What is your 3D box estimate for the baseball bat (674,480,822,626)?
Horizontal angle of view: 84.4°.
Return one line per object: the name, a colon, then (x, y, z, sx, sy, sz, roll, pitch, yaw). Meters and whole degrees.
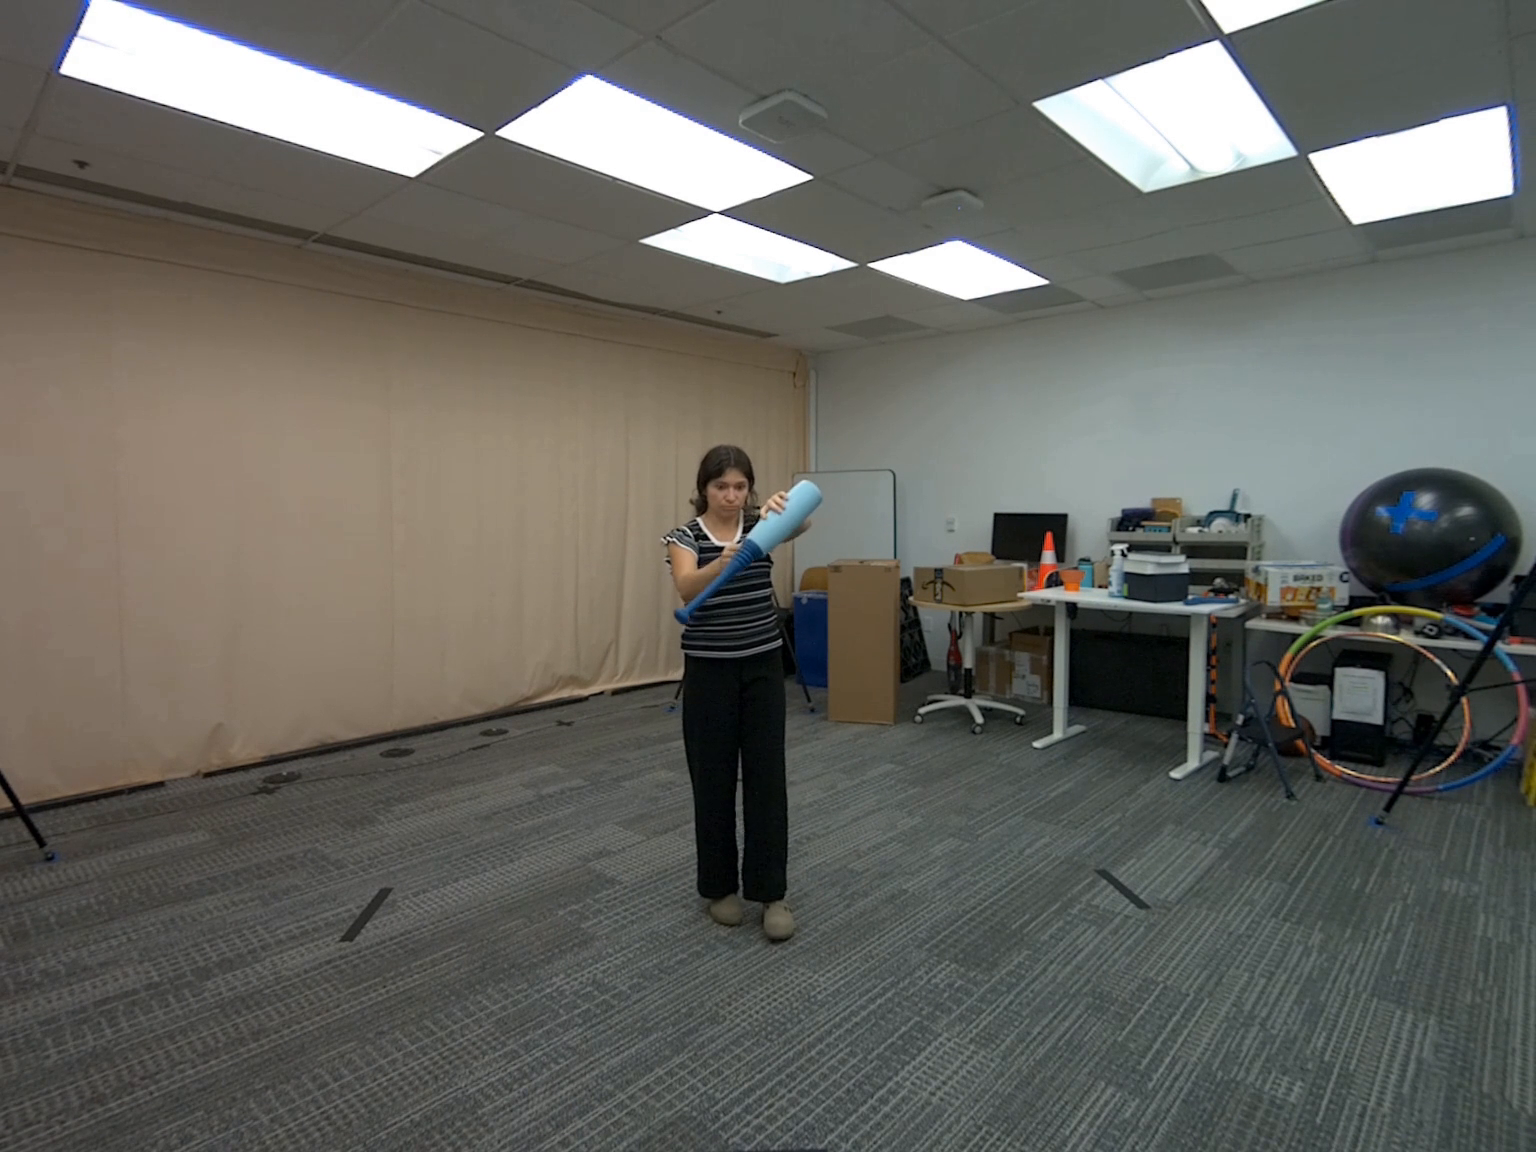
baseball bat: (-0.057, -0.049, 2.291, 0.540, 0.087, 0.091, -45, 22, -19)
